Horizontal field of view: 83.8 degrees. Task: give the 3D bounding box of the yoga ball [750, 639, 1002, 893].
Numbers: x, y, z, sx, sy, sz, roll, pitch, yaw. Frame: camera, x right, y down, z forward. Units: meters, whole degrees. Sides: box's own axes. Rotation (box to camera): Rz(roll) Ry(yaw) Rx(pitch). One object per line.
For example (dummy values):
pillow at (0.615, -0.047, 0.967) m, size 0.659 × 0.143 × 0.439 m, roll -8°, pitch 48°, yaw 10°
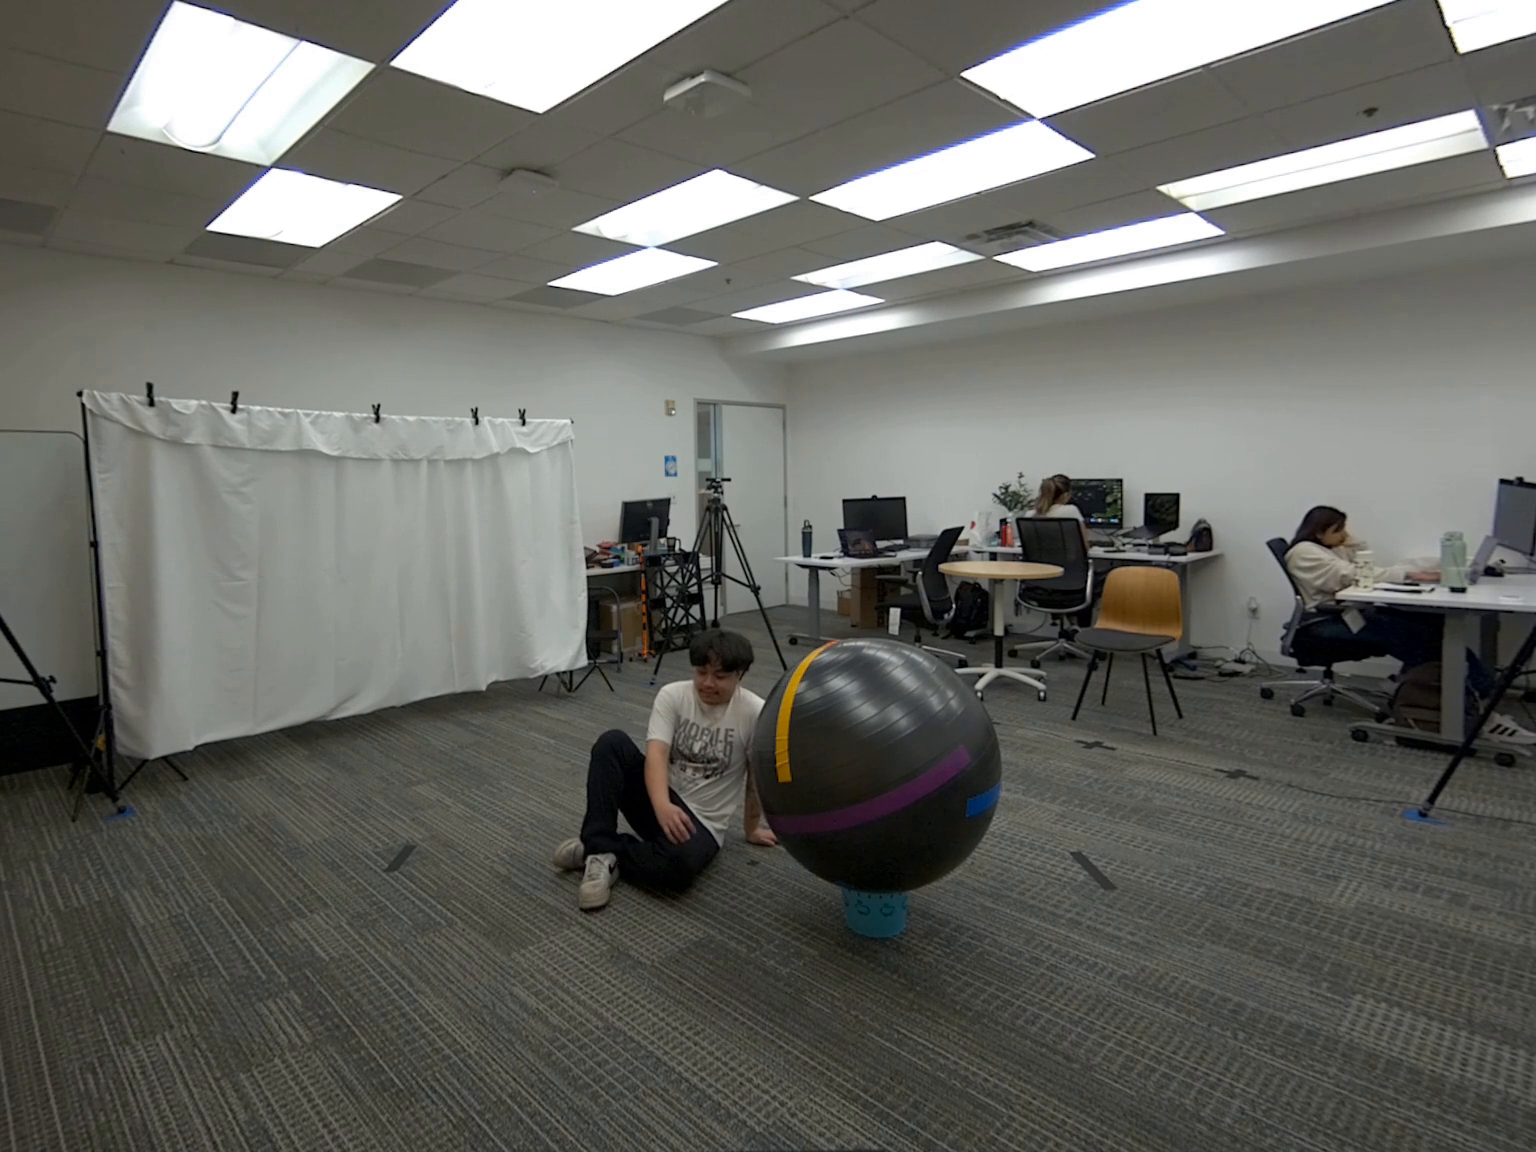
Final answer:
yoga ball at (0.333, 0.579, 2.634) m, size 0.757 × 0.755 × 0.762 m, roll -1°, pitch 5°, yaw -2°
